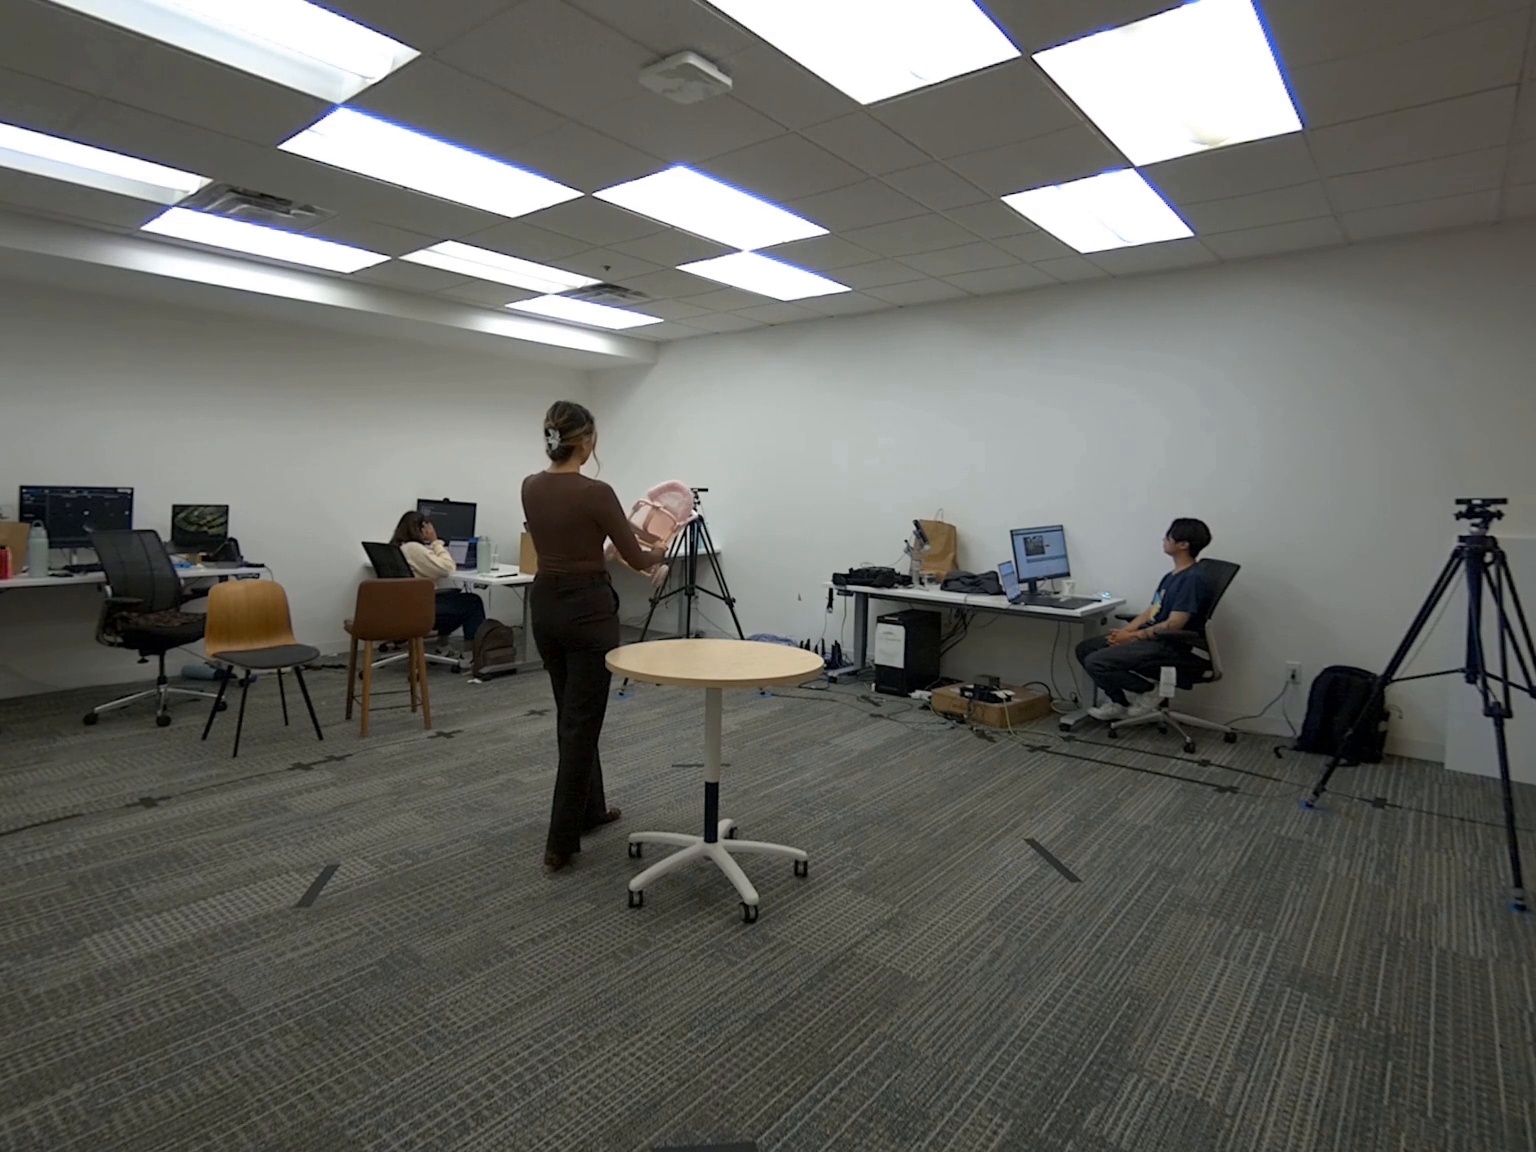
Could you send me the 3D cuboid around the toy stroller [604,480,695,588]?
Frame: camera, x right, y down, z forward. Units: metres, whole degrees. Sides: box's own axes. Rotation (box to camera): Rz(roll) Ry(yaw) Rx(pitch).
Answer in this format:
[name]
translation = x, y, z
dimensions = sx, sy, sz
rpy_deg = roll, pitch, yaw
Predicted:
[toy stroller]
translation = -0.510, -0.226, 3.724
dimensions = 0.286, 0.538, 0.334
rpy_deg = 27, -32, 10
